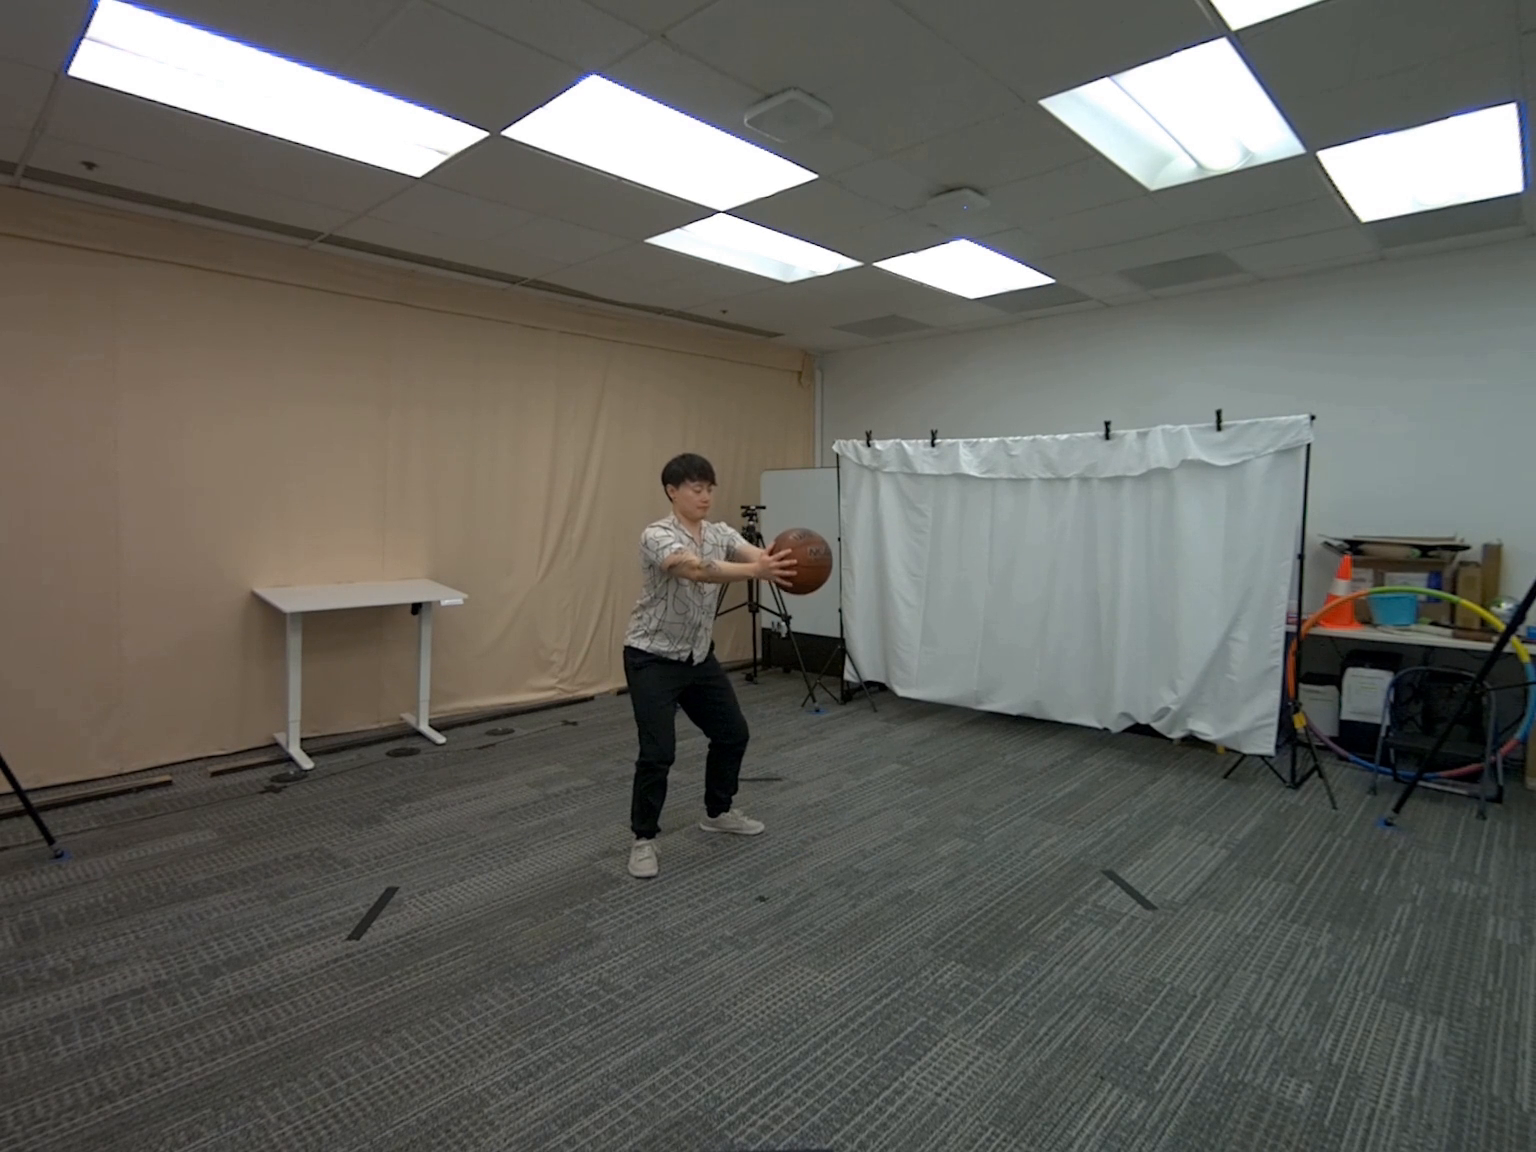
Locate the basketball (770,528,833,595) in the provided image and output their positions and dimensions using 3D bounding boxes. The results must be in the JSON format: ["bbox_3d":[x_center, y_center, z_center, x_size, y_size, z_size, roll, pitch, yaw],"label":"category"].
[{"bbox_3d":[0.115,-0.051,2.997,0.236,0.235,0.237,0,4,-2],"label":"basketball"}]
